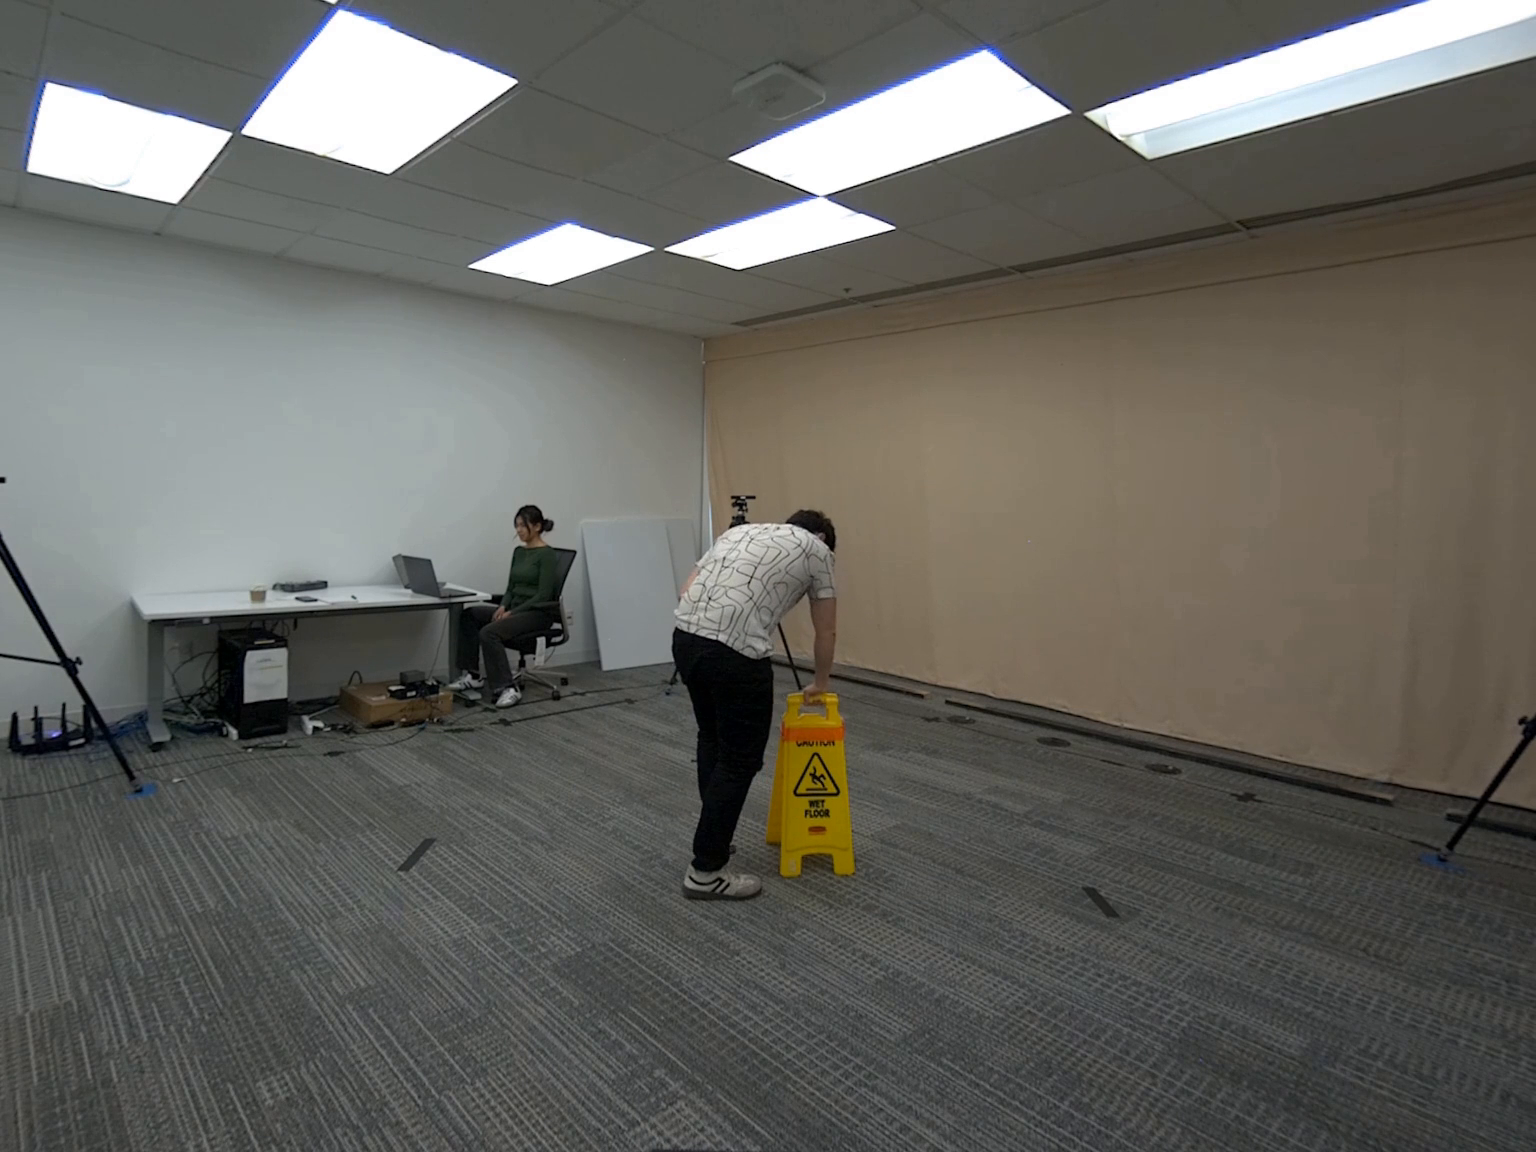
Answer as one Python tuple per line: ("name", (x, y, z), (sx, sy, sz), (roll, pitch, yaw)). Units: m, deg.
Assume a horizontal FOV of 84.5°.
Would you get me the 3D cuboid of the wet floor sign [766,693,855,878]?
("wet floor sign", (0.153, 0.769, 3.252), (0.280, 0.645, 0.292), (1, 3, -9))
